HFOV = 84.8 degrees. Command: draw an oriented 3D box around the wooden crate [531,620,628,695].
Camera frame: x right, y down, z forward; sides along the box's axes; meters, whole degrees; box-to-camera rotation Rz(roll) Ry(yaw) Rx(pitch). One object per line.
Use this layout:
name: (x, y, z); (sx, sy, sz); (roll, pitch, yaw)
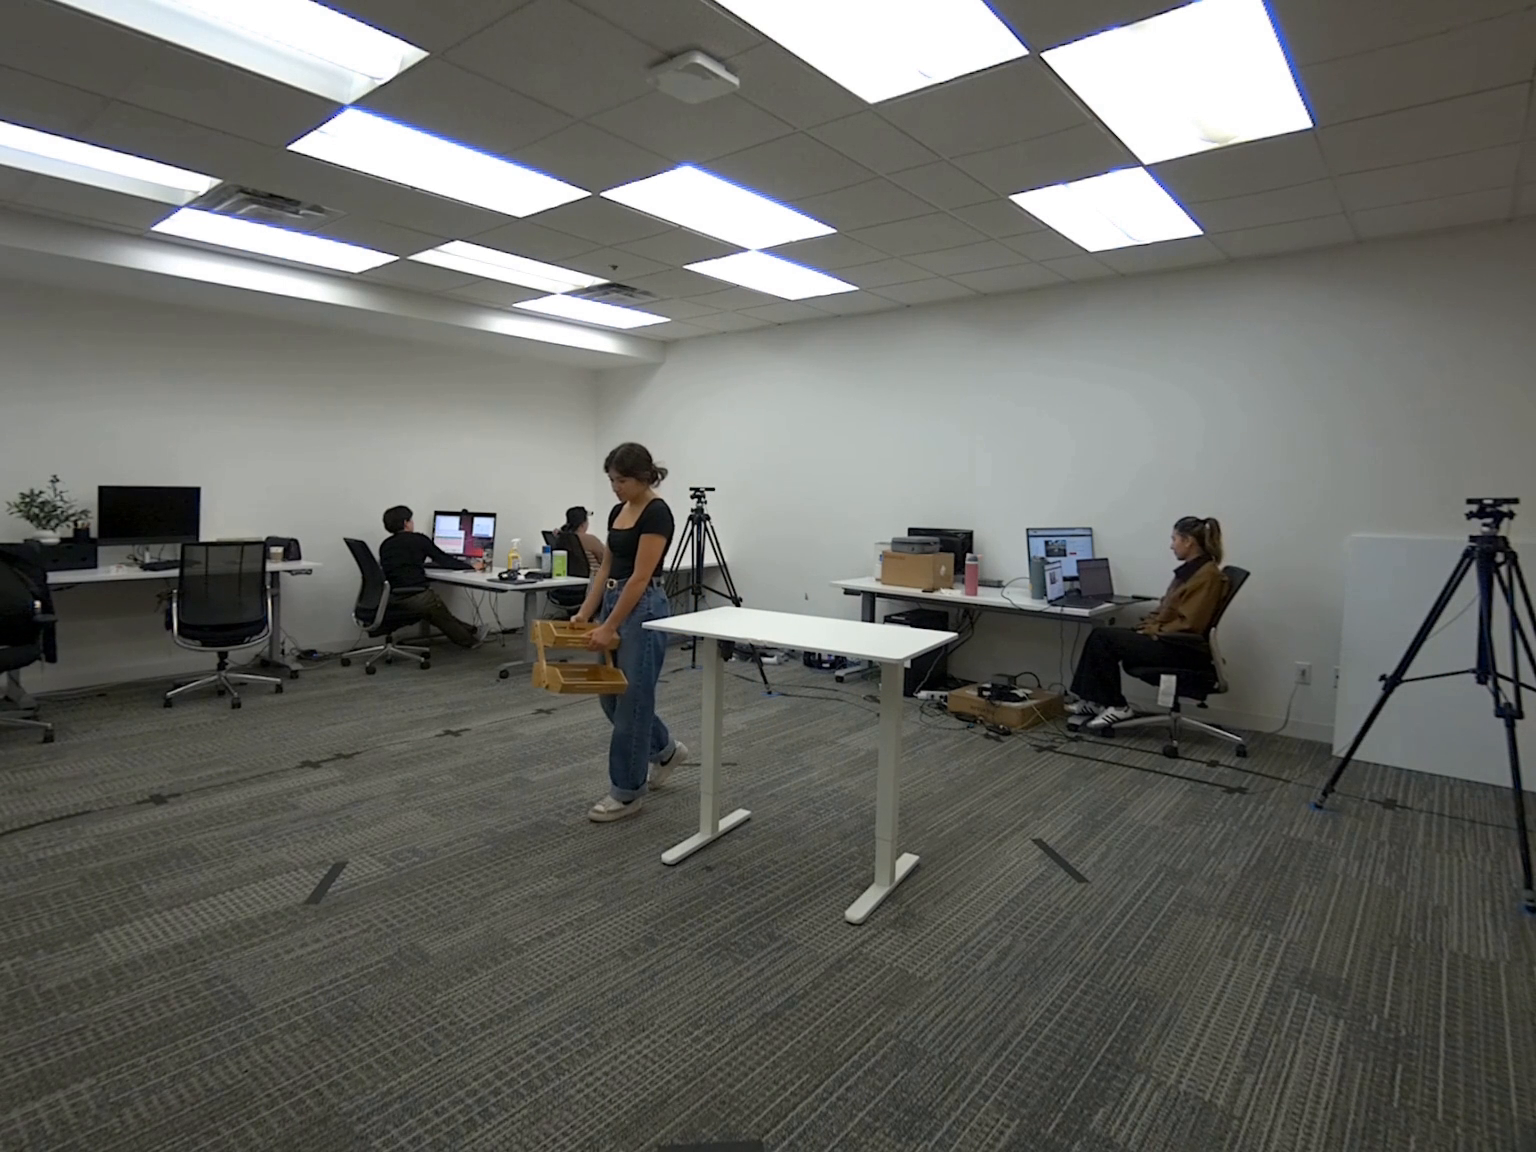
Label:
wooden crate: (-0.779, 0.321, 3.460); (0.313, 0.274, 0.312); (7, -4, -42)
